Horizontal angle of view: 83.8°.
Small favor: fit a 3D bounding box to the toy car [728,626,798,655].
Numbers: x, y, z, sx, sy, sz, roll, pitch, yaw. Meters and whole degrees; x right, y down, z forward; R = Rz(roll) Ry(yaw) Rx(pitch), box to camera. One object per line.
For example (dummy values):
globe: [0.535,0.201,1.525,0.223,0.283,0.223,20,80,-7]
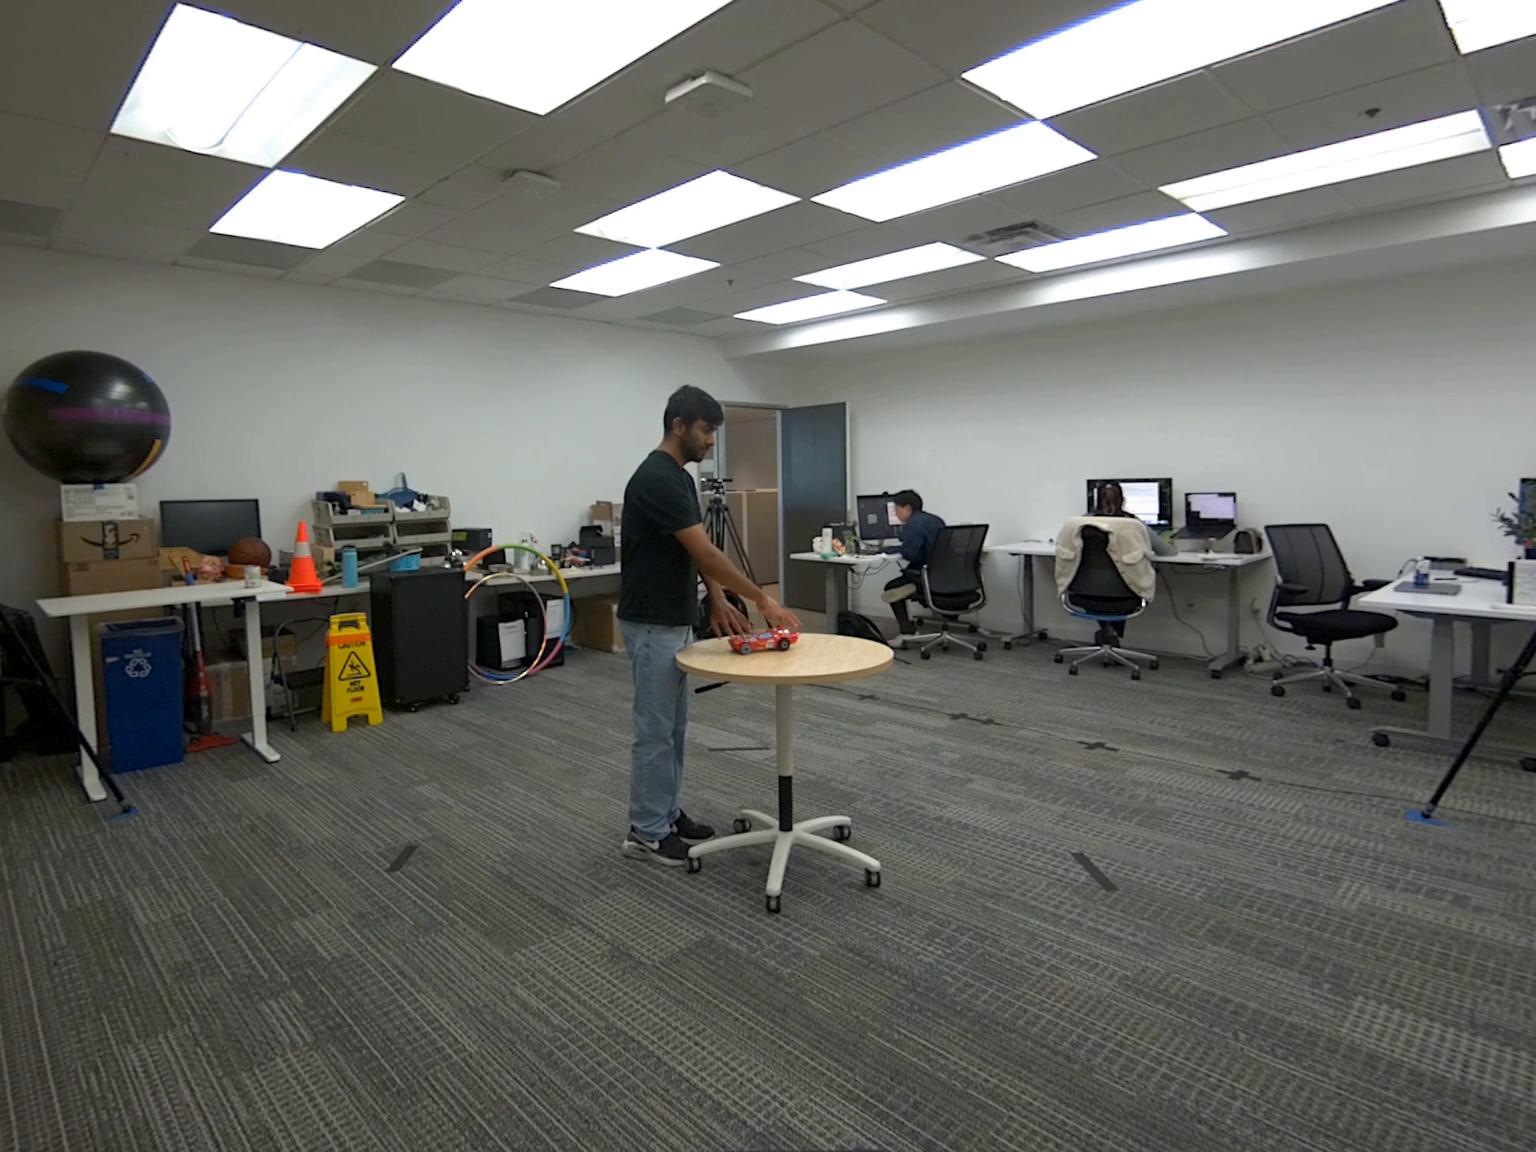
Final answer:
toy car: [-0.008,0.232,3.060,0.251,0.082,0.133,-15,10,-18]
